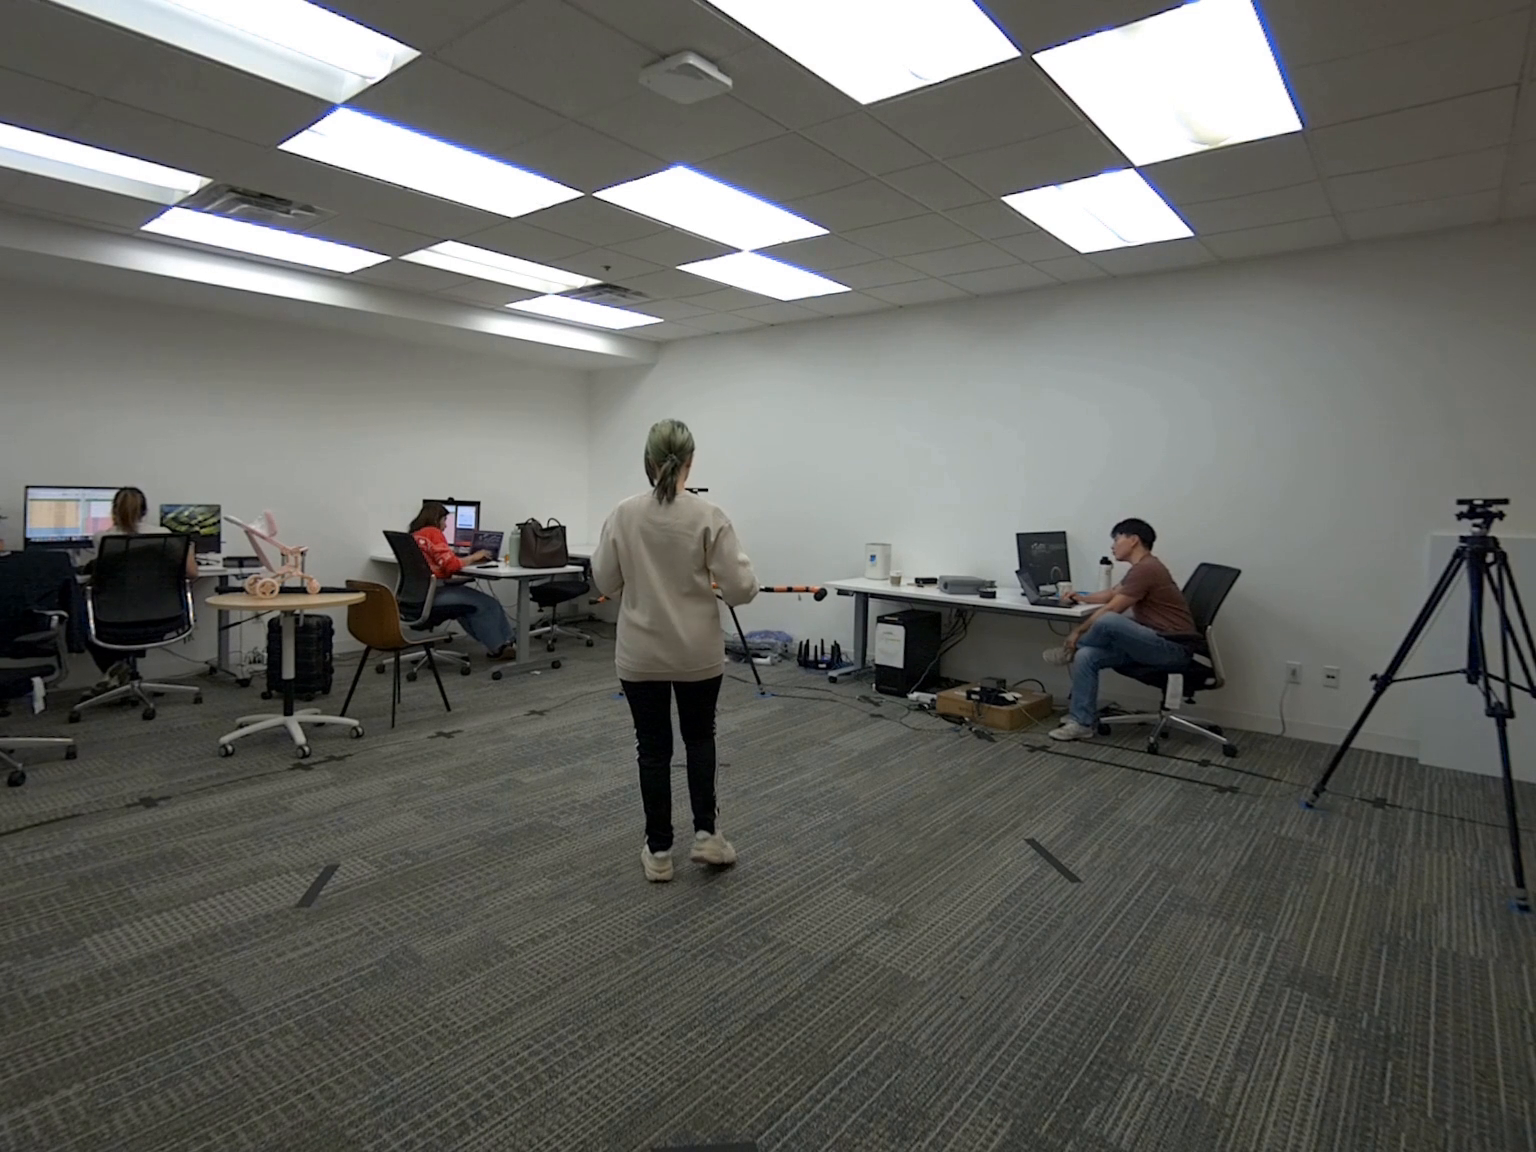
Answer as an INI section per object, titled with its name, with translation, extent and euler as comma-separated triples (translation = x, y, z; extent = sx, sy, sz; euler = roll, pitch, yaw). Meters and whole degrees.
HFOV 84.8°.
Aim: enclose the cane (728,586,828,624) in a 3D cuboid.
[cane]
translation = -0.236, 0.047, 3.291
extent = 0.922, 0.151, 0.204
euler = 2, 4, 14
